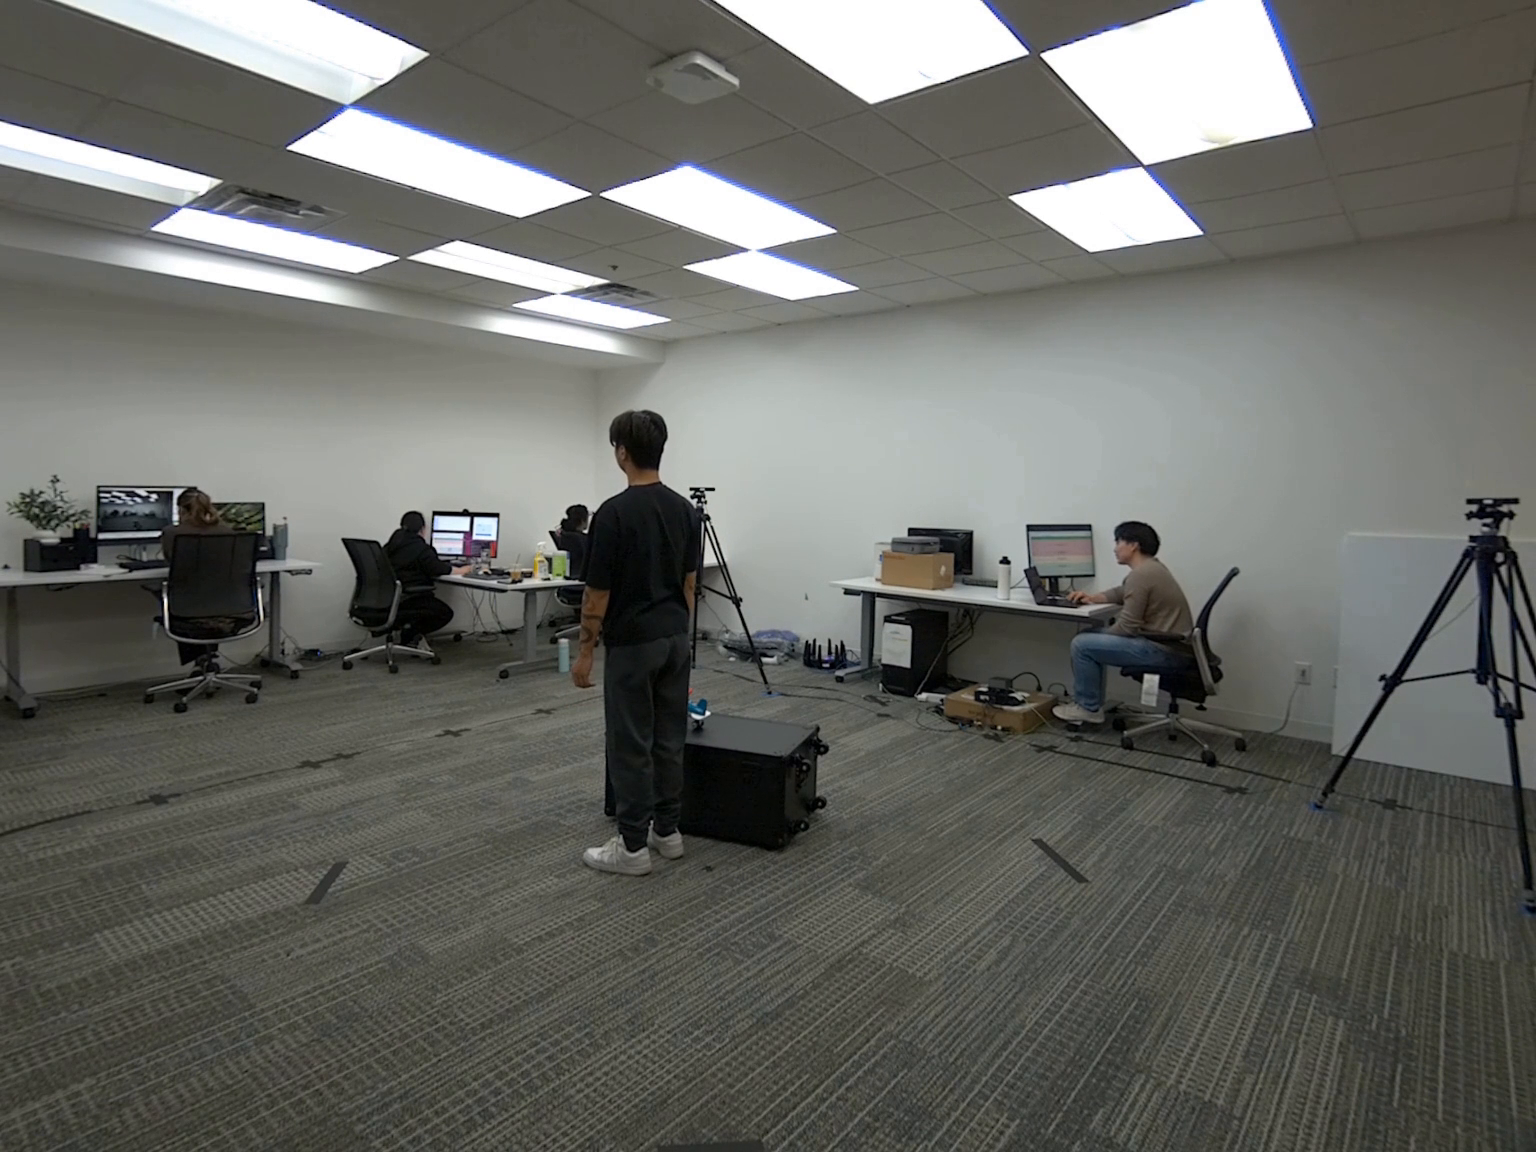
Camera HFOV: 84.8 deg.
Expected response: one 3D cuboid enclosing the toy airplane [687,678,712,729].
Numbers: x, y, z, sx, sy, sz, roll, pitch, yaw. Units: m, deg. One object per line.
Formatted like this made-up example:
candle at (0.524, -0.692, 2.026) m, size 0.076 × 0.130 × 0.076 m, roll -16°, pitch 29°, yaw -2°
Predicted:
toy airplane at (-0.383, 0.551, 3.660) m, size 0.258 × 0.156 × 0.253 m, roll -1°, pitch 6°, yaw -4°
